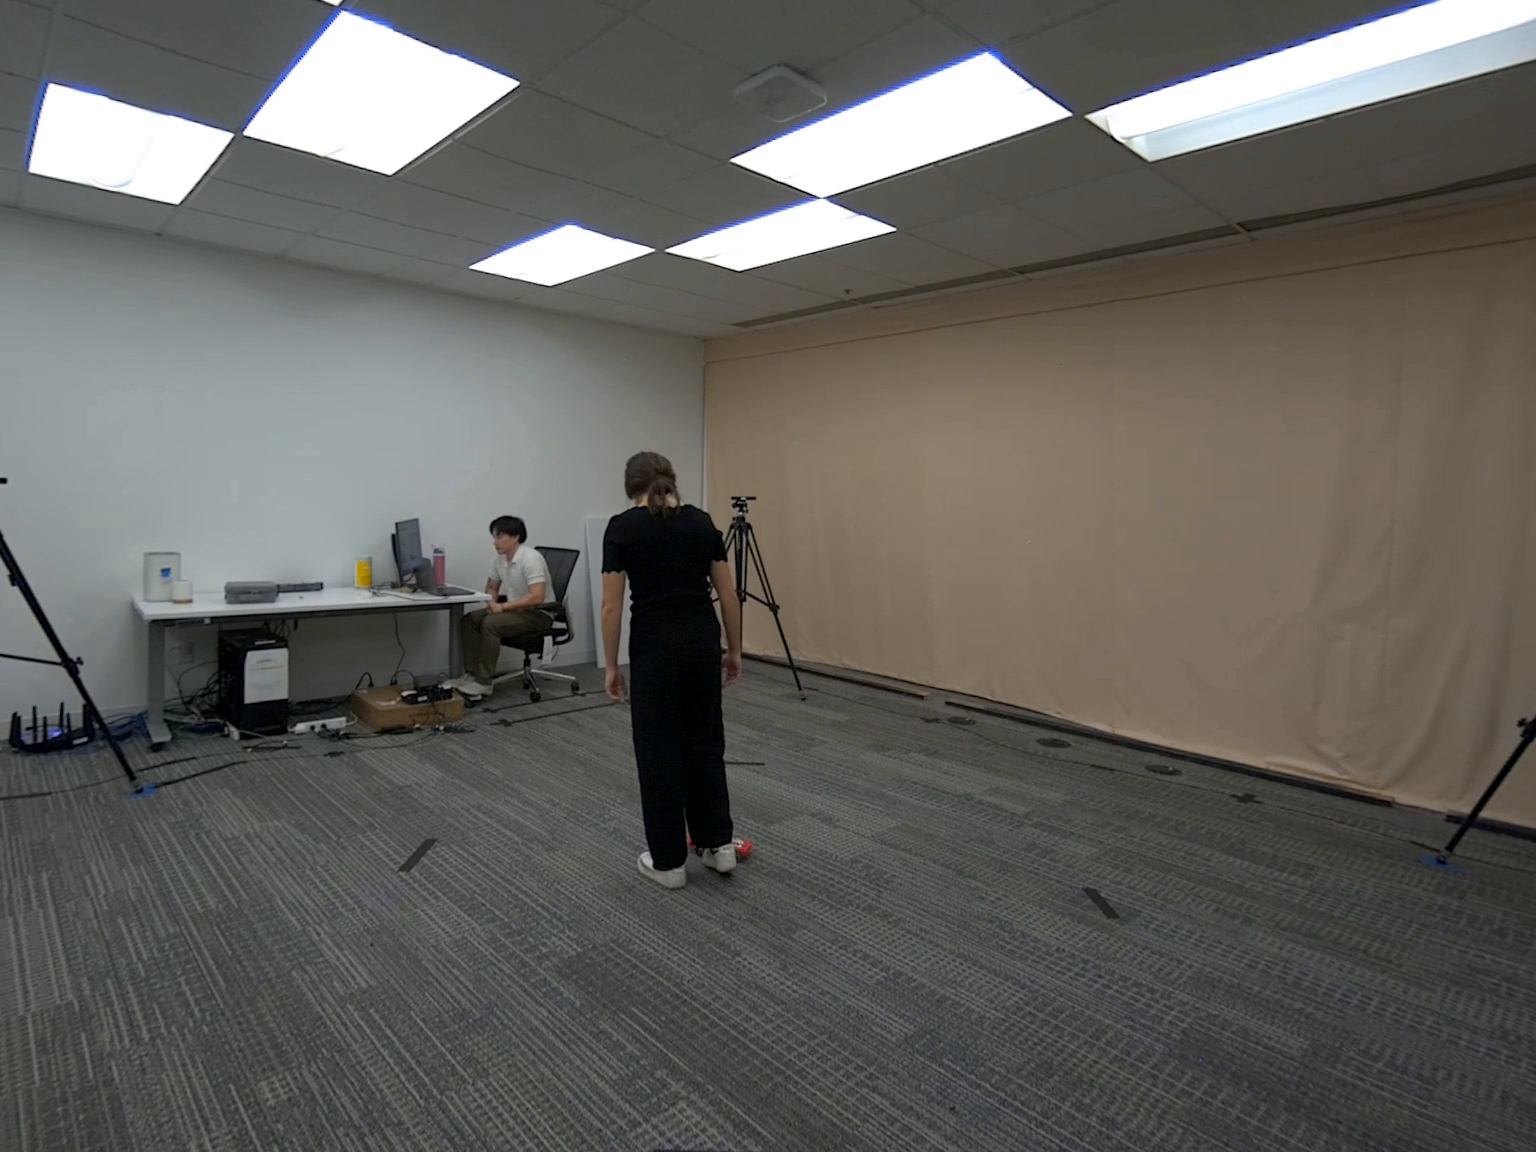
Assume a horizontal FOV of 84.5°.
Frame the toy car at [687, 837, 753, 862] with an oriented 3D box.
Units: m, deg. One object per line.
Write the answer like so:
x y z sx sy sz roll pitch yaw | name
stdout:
-0.200 1.055 3.295 0.258 0.083 0.129 13 6 16 | toy car
